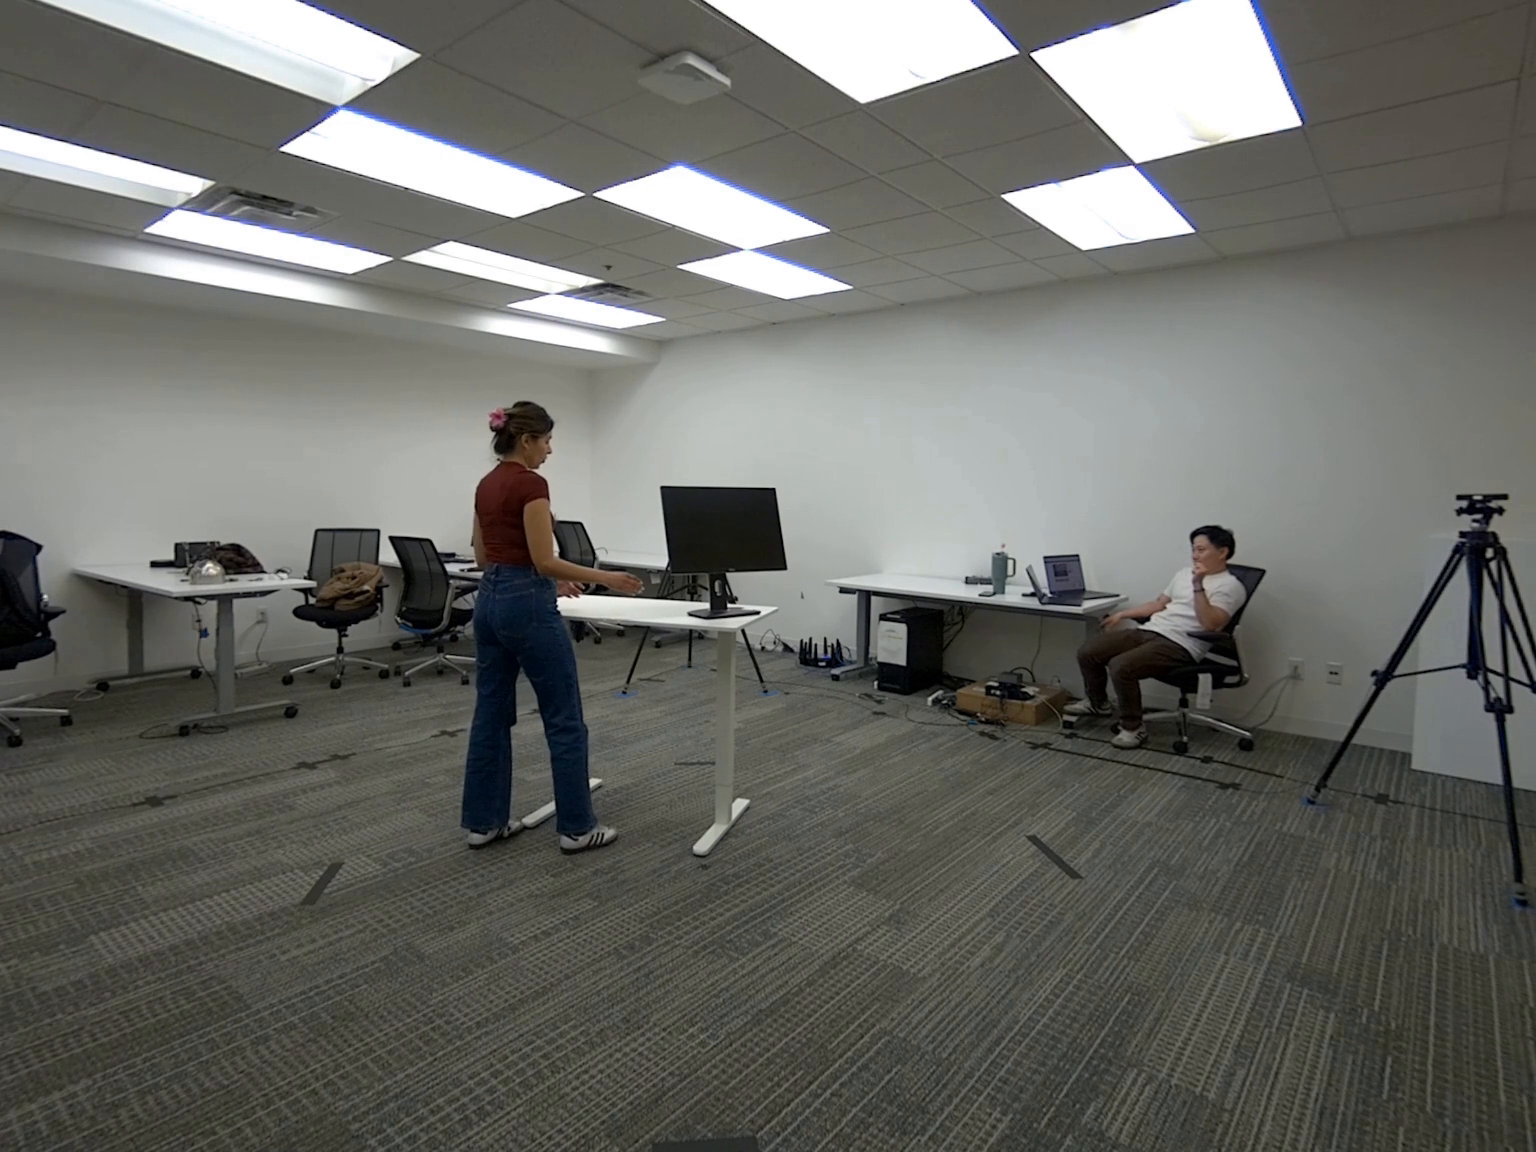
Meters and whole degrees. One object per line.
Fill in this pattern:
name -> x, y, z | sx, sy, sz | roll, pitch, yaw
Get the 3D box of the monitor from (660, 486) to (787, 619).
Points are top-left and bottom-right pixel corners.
monitor -> -0.196, -0.099, 3.424 | 0.524, 0.522, 0.192 | -2, 1, -32
